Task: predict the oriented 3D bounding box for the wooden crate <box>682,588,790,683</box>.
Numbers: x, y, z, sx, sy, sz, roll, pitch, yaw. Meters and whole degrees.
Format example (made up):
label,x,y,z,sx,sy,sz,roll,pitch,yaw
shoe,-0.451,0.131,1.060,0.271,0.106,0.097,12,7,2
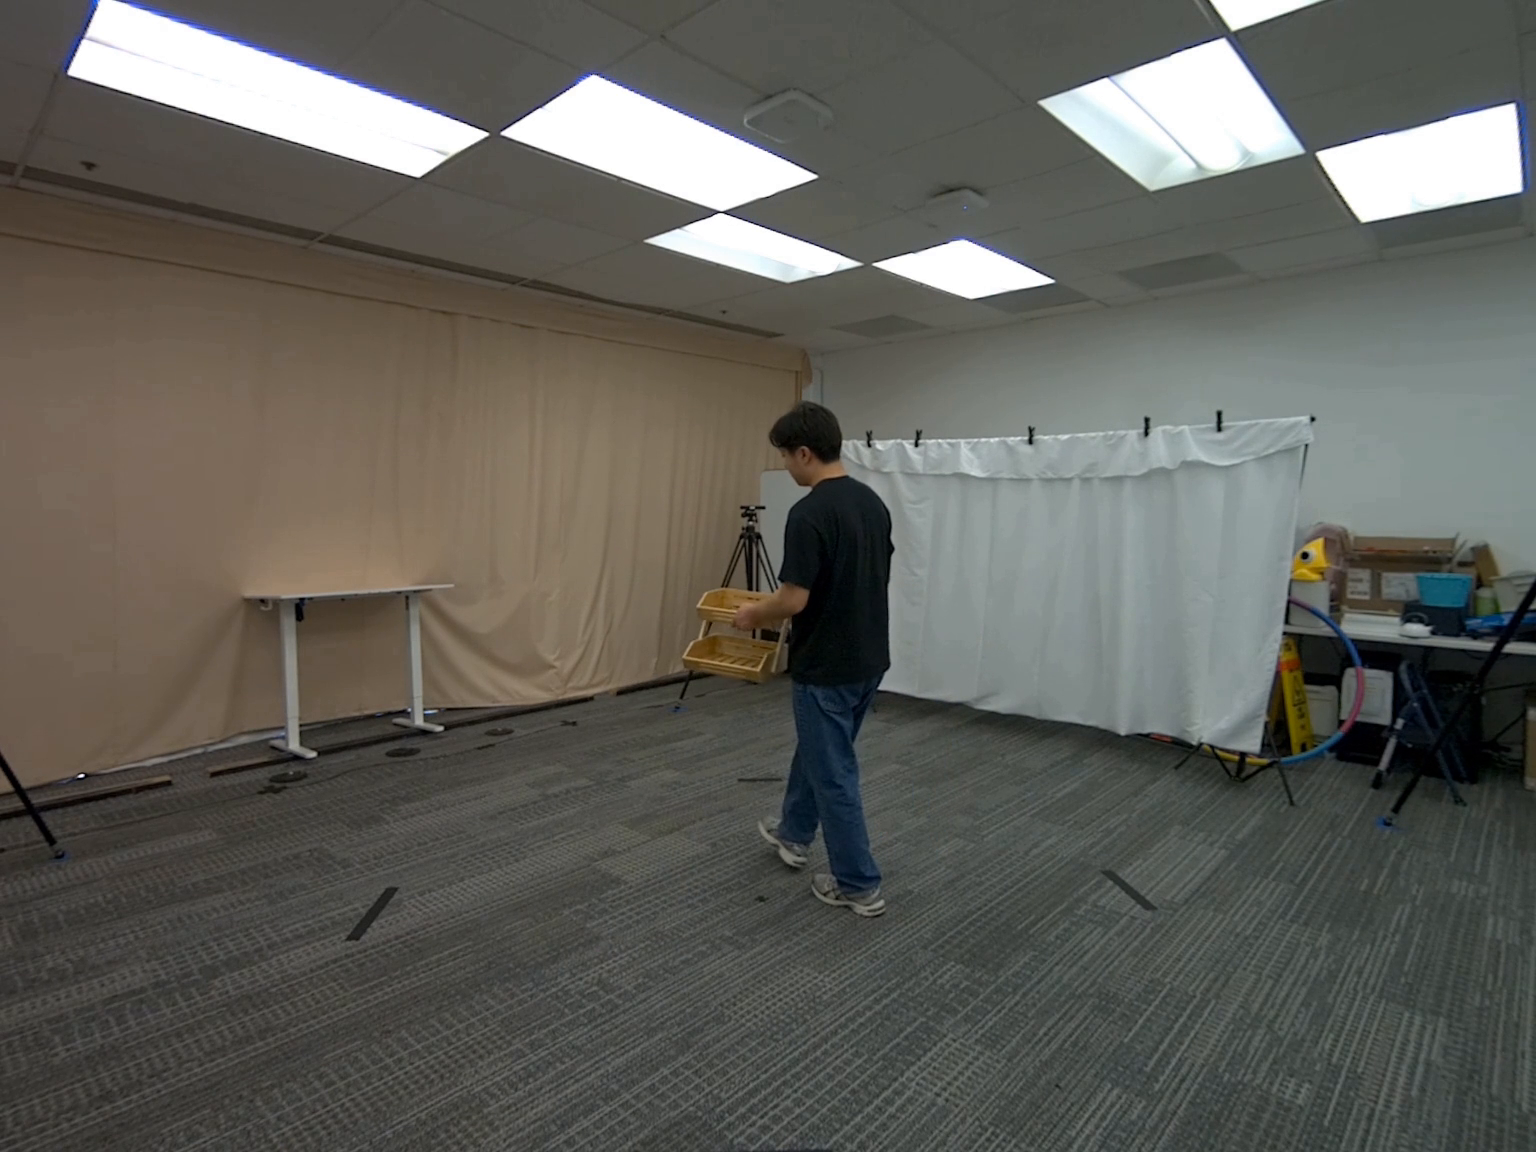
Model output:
label,x,y,z,sx,sy,sz,roll,pitch,yaw
wooden crate,-0.098,0.205,3.032,0.333,0.272,0.295,6,7,24
